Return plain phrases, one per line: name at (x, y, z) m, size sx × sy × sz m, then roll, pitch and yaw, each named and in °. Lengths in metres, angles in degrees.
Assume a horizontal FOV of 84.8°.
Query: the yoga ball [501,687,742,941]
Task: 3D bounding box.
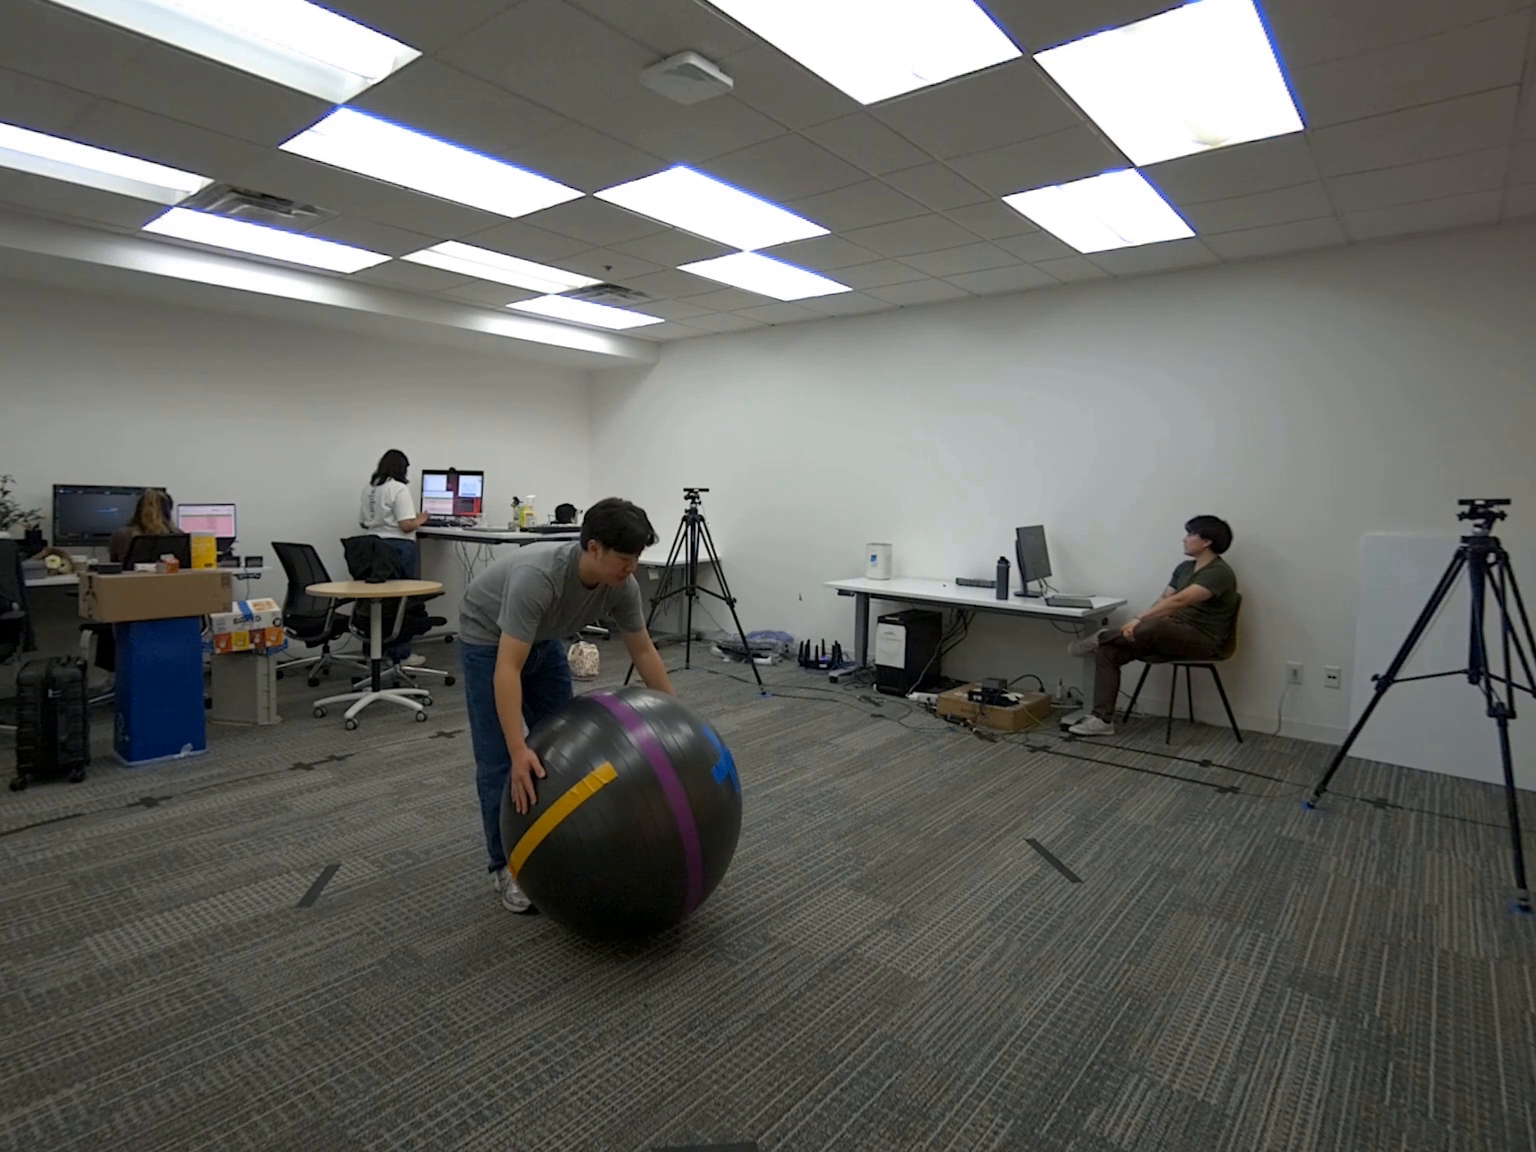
yoga ball at (-0.464, 0.723, 2.689) m, size 0.757 × 0.755 × 0.762 m, roll 1°, pitch 4°, yaw -2°
